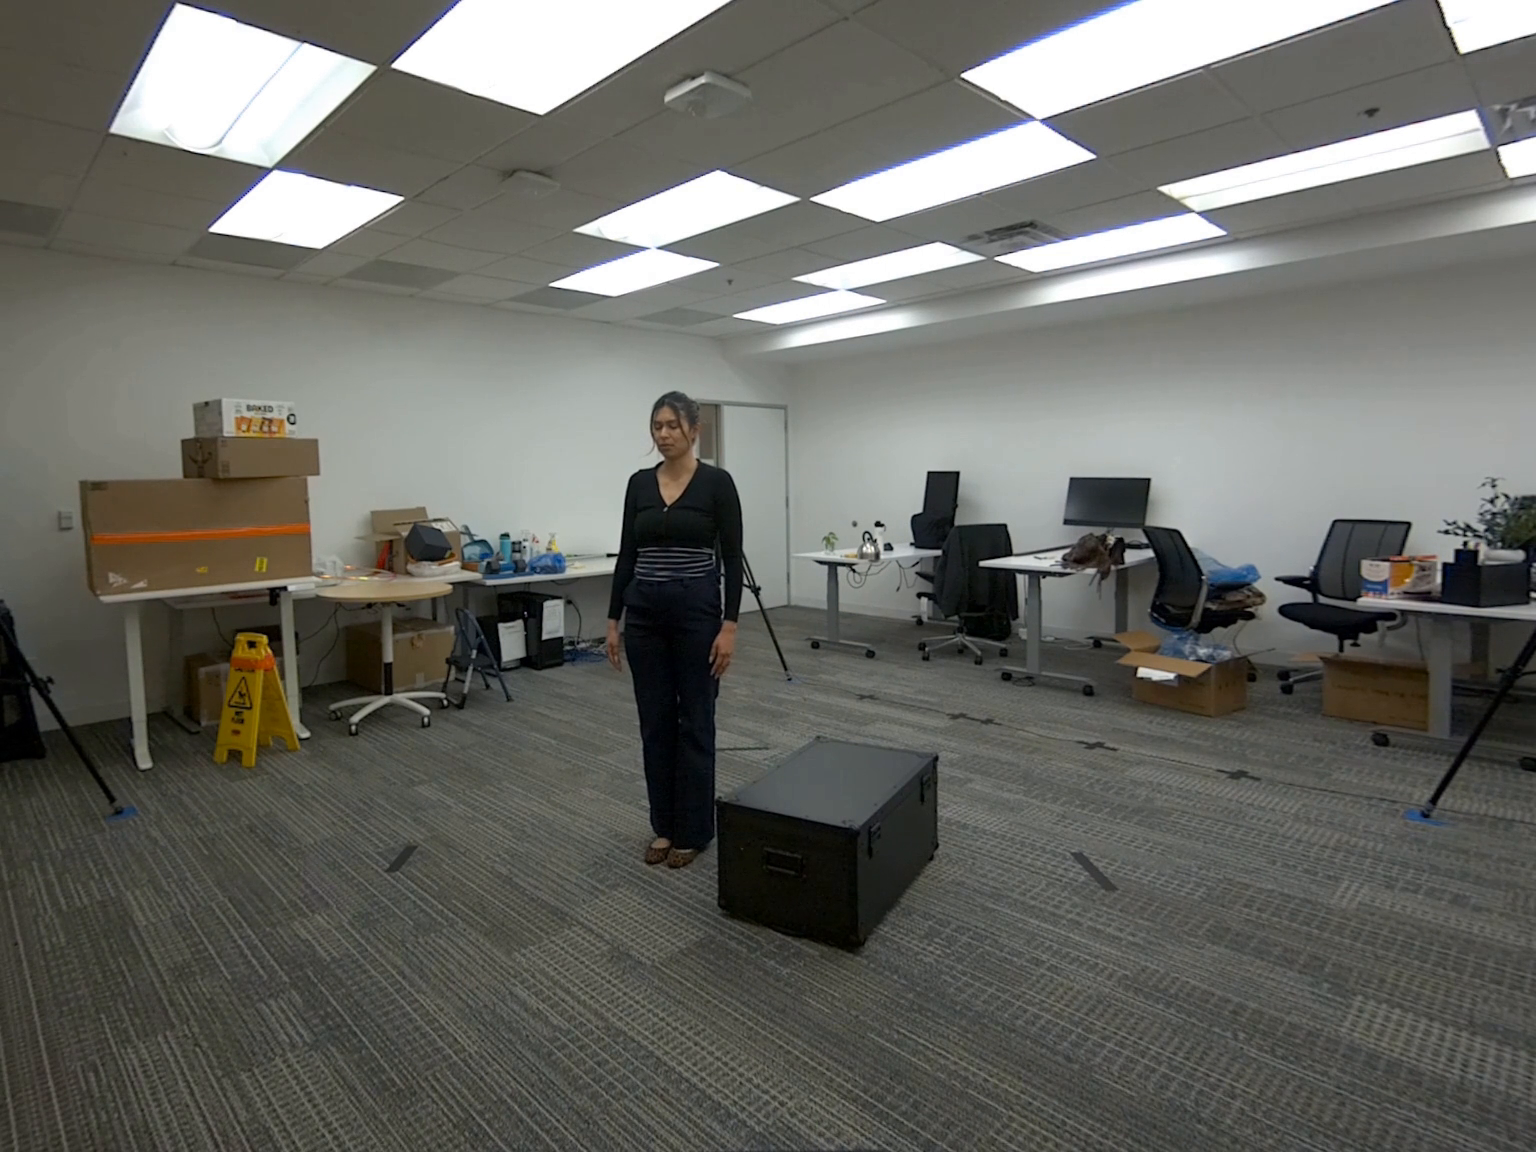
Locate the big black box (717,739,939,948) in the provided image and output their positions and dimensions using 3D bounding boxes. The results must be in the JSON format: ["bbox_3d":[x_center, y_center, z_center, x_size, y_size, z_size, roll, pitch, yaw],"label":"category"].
[{"bbox_3d":[0.249,0.866,2.960,0.535,0.394,0.843,2,7,29],"label":"big black box"}]
